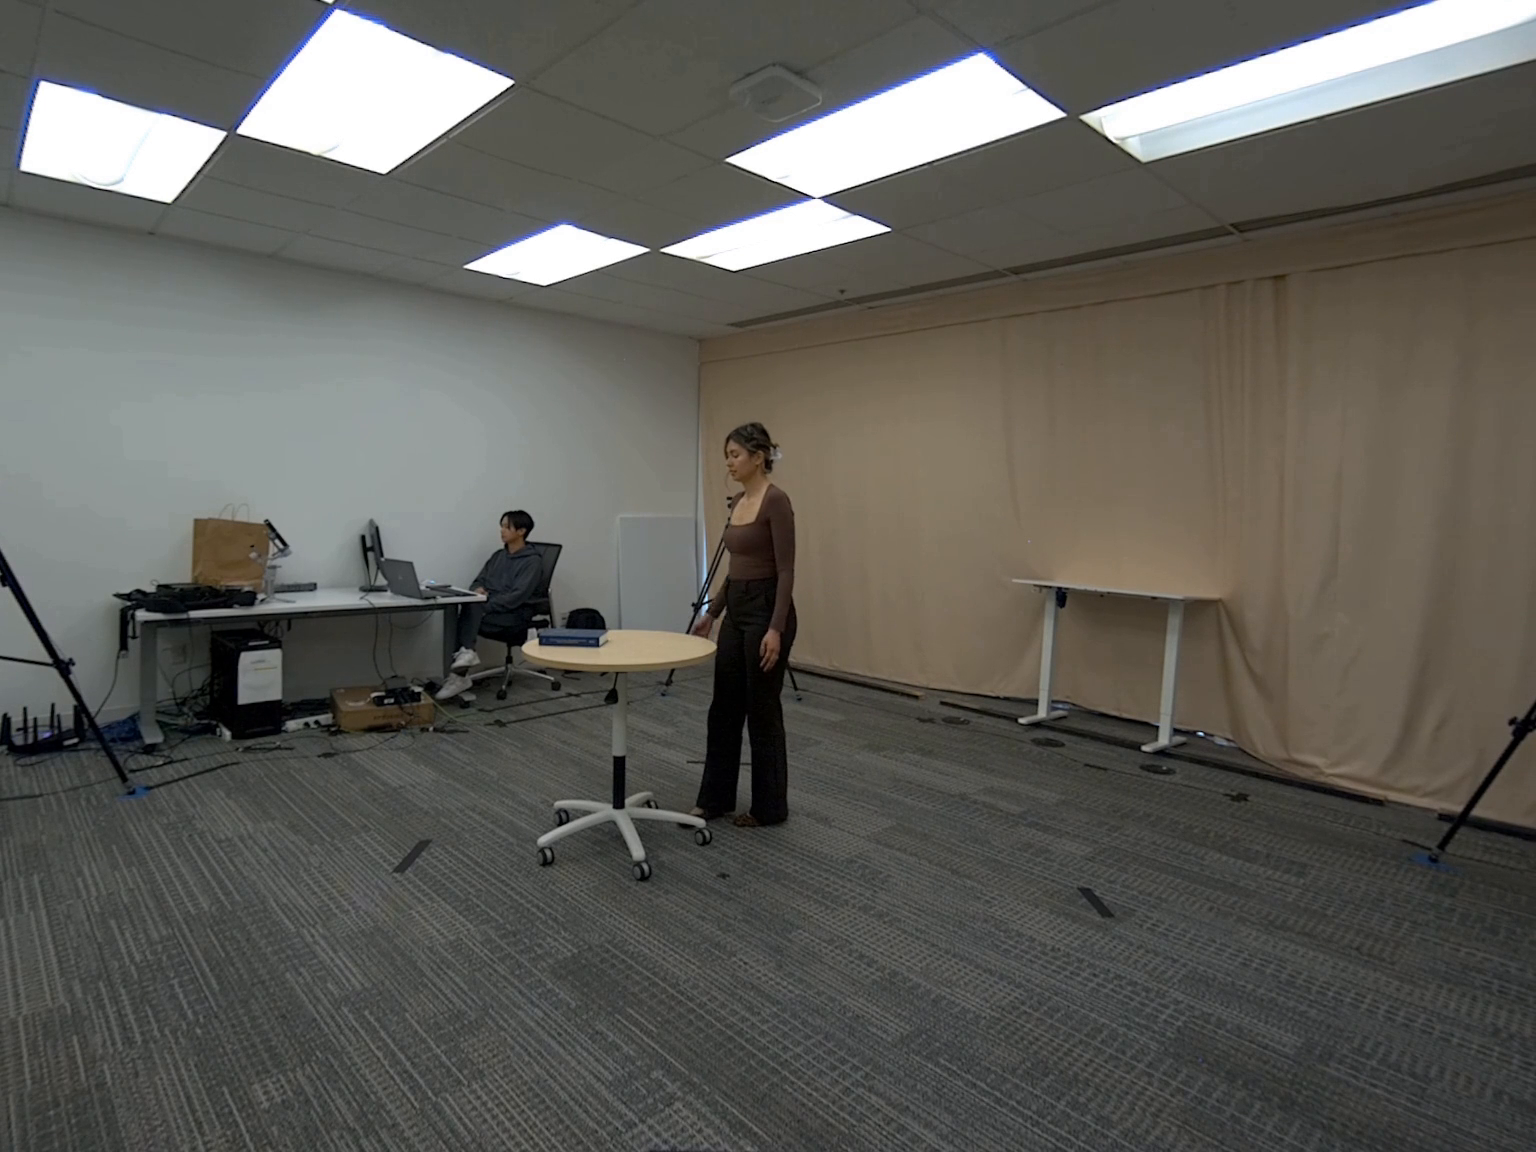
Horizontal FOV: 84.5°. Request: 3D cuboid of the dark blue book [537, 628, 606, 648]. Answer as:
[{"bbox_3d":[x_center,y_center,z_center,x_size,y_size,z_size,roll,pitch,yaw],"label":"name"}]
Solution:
[{"bbox_3d":[-0.791,0.248,3.373,0.246,0.045,0.163,2,5,3],"label":"dark blue book"}]
